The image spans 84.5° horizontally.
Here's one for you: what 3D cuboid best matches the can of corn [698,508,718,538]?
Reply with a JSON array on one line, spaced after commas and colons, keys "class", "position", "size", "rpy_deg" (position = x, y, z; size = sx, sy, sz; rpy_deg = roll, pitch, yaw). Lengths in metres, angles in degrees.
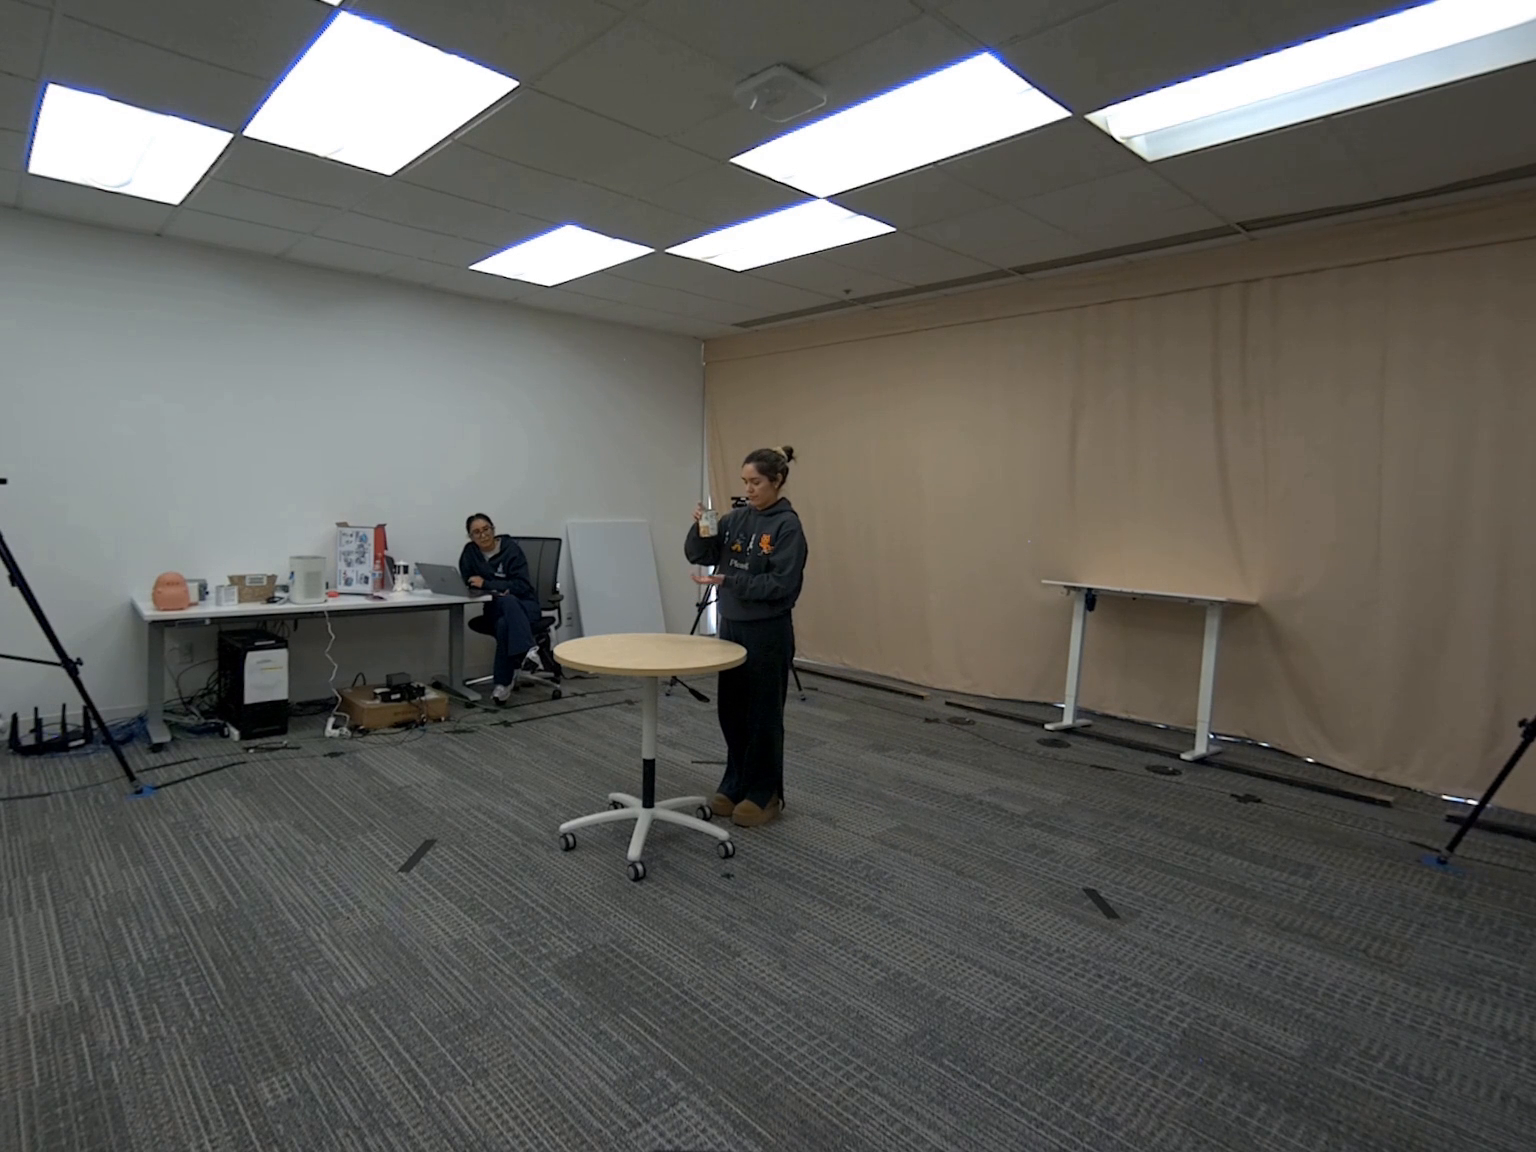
[{"class": "can of corn", "position": [-0.266, -0.217, 3.516], "size": [0.074, 0.111, 0.074], "rpy_deg": [1, 3, -1]}]
